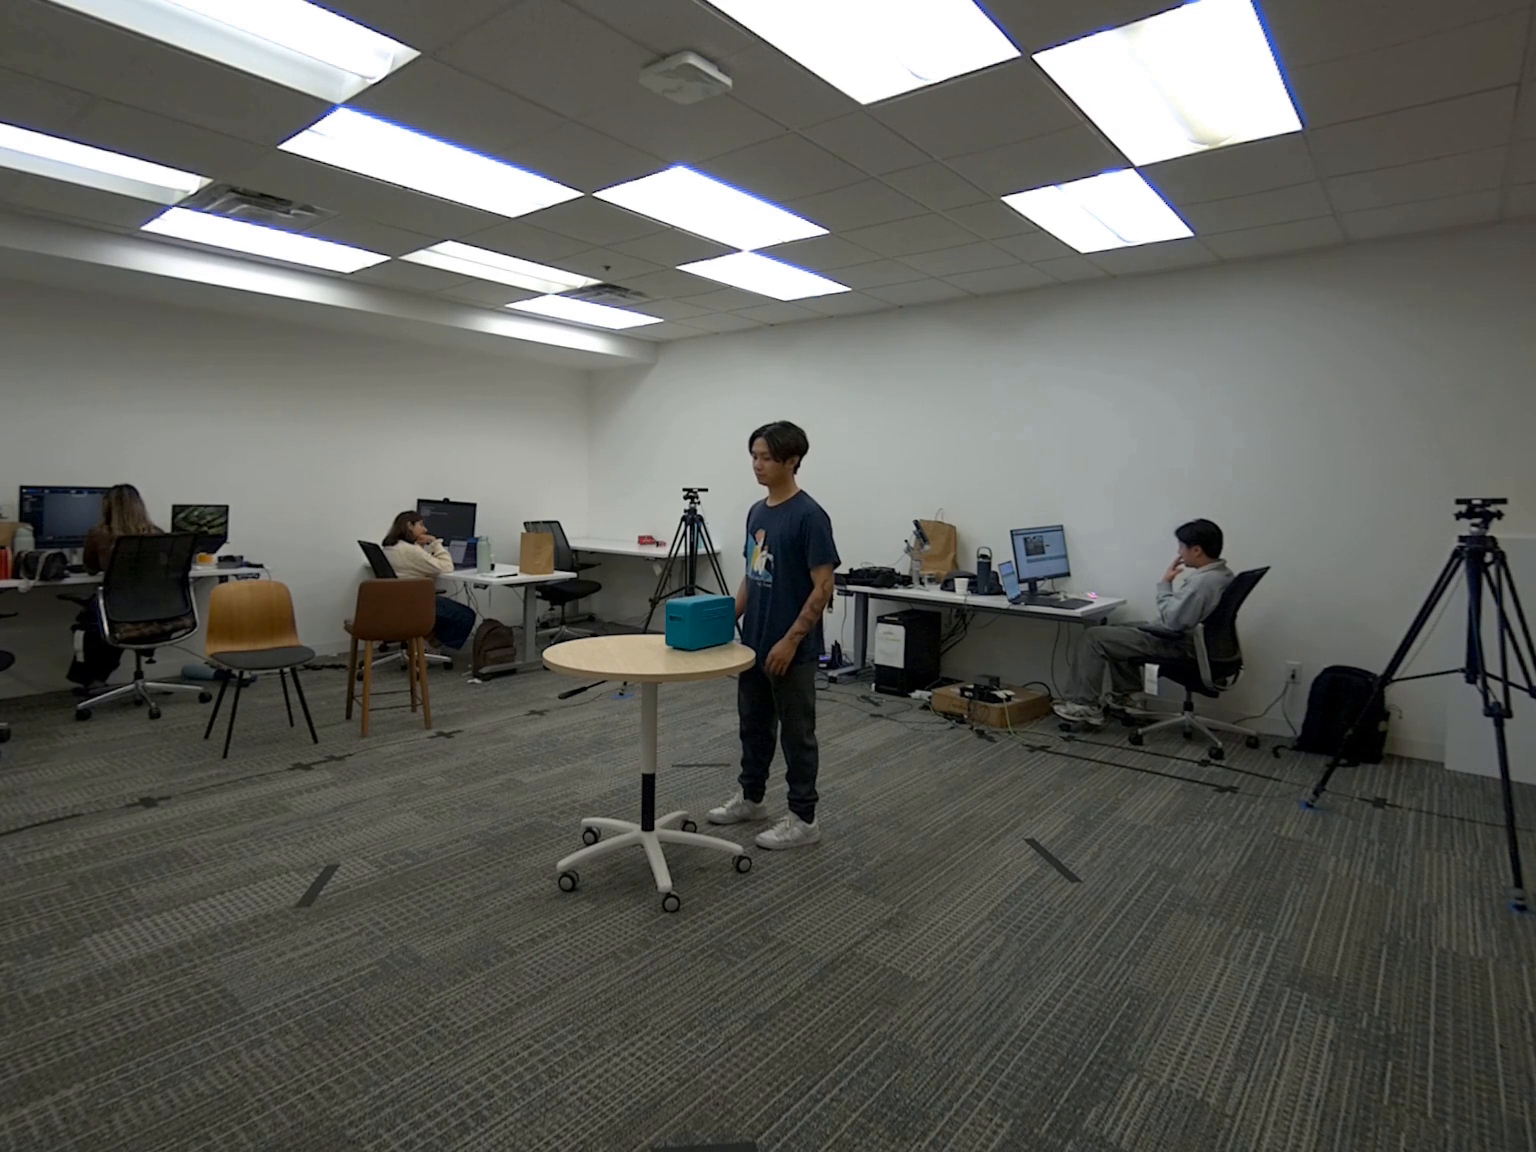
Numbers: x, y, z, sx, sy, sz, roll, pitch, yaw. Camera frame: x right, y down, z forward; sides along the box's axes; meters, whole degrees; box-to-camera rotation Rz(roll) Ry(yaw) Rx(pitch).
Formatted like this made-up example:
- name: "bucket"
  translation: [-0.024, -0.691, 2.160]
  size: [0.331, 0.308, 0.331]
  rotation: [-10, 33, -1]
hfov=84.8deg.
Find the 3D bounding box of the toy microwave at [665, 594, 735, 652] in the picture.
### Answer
- name: "toy microwave"
  translation: [-0.277, 0.170, 3.238]
  size: [0.157, 0.183, 0.278]
  rotation: [3, 5, 35]
